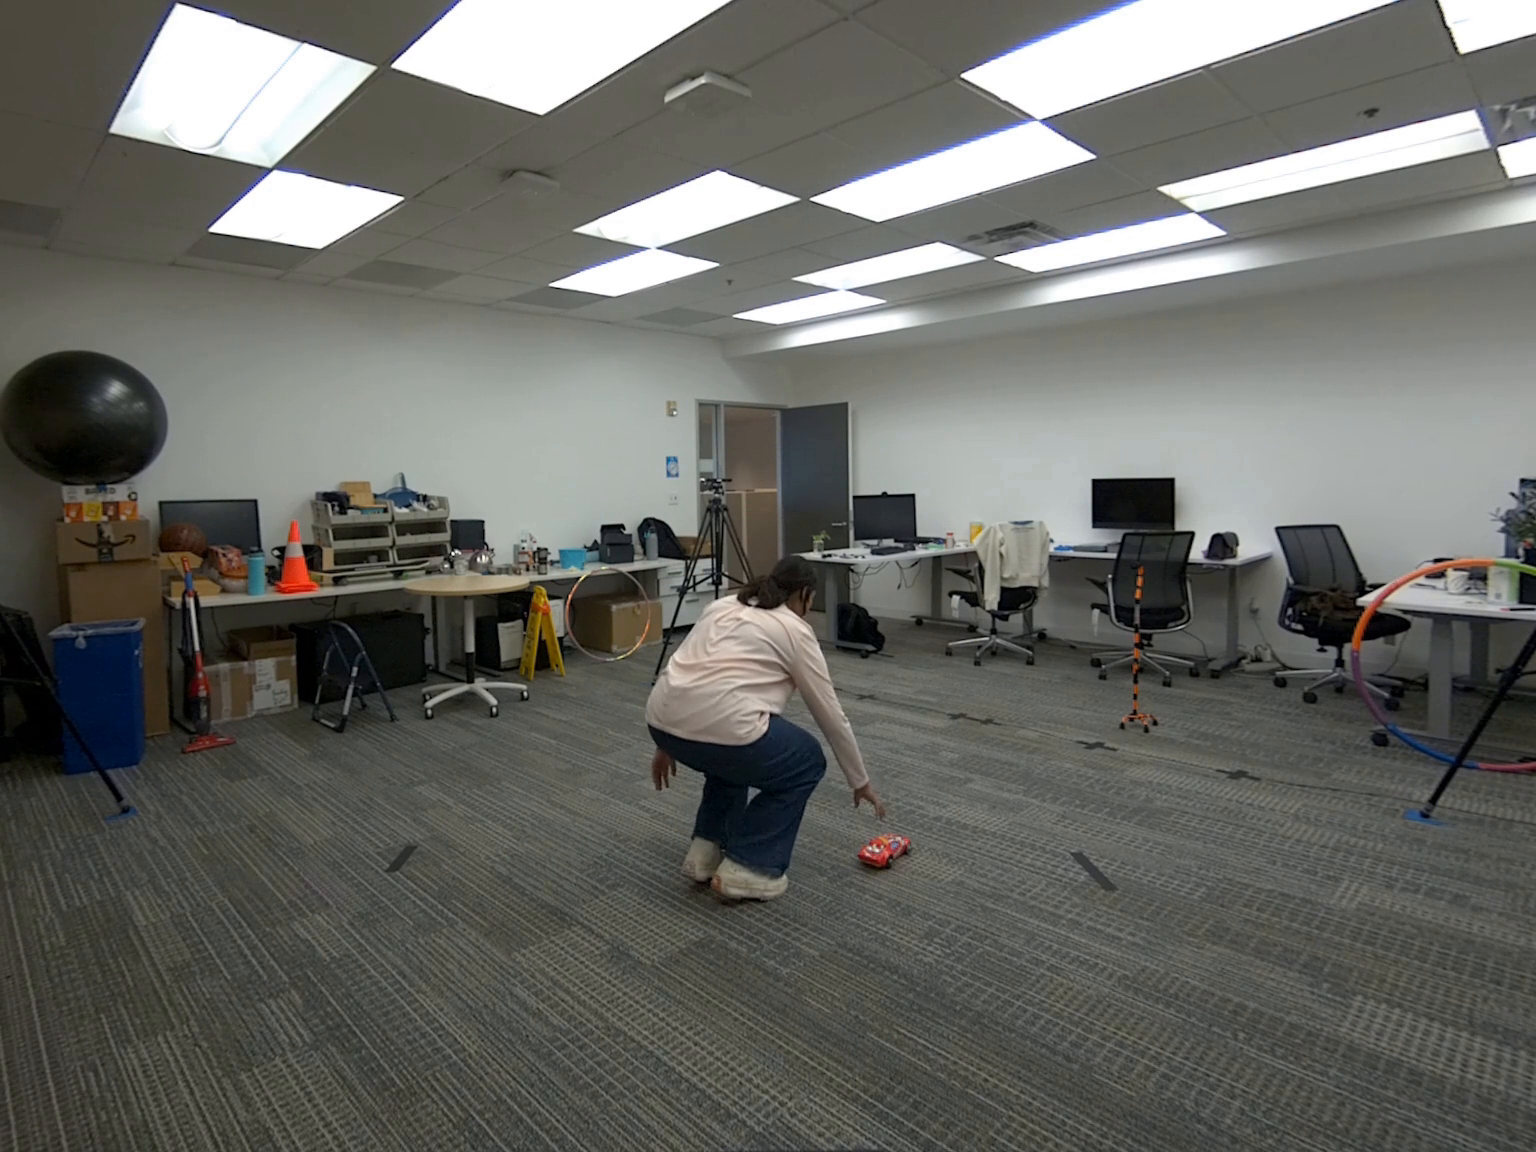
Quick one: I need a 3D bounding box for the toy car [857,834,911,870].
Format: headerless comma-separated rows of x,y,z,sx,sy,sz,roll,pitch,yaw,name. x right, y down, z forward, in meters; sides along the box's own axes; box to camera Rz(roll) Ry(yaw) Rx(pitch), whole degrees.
0.421,0.998,3.114,0.134,0.083,0.246,4,-3,38,toy car
